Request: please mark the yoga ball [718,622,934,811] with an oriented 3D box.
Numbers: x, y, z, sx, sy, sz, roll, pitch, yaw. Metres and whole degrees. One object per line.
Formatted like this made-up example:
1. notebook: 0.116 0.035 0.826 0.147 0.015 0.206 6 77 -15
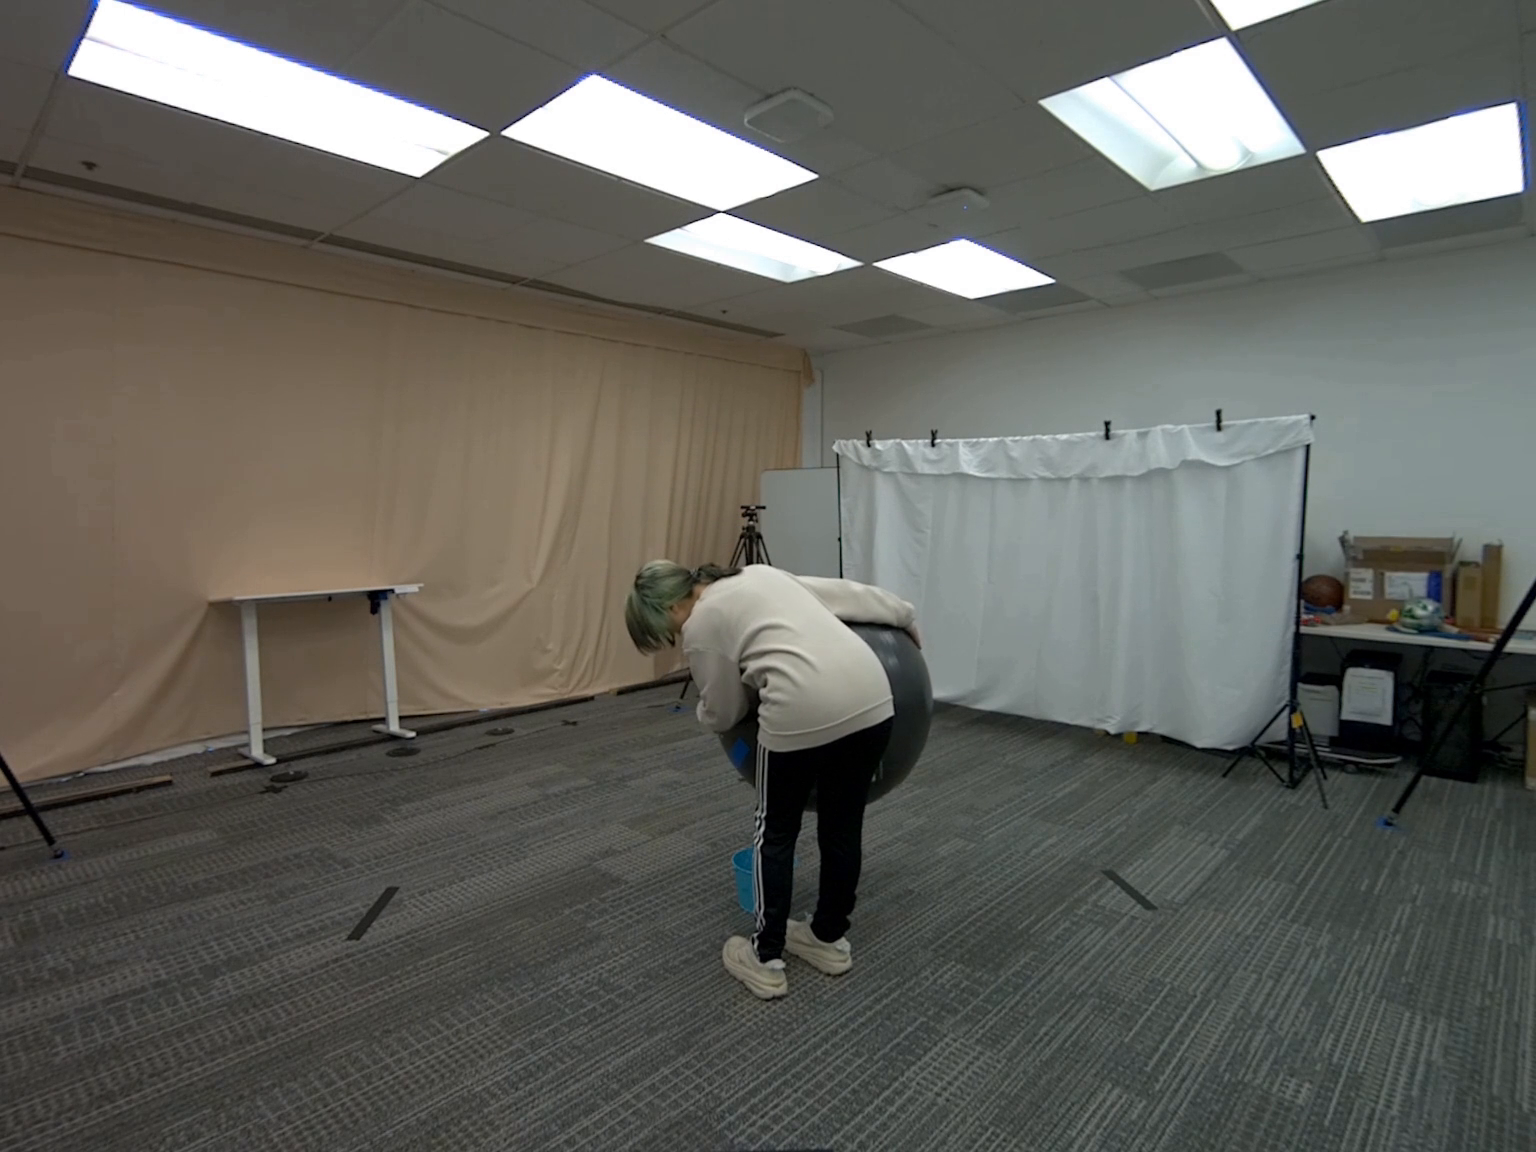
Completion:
1. yoga ball: 0.183 0.430 2.915 0.757 0.756 0.760 0 4 -2
